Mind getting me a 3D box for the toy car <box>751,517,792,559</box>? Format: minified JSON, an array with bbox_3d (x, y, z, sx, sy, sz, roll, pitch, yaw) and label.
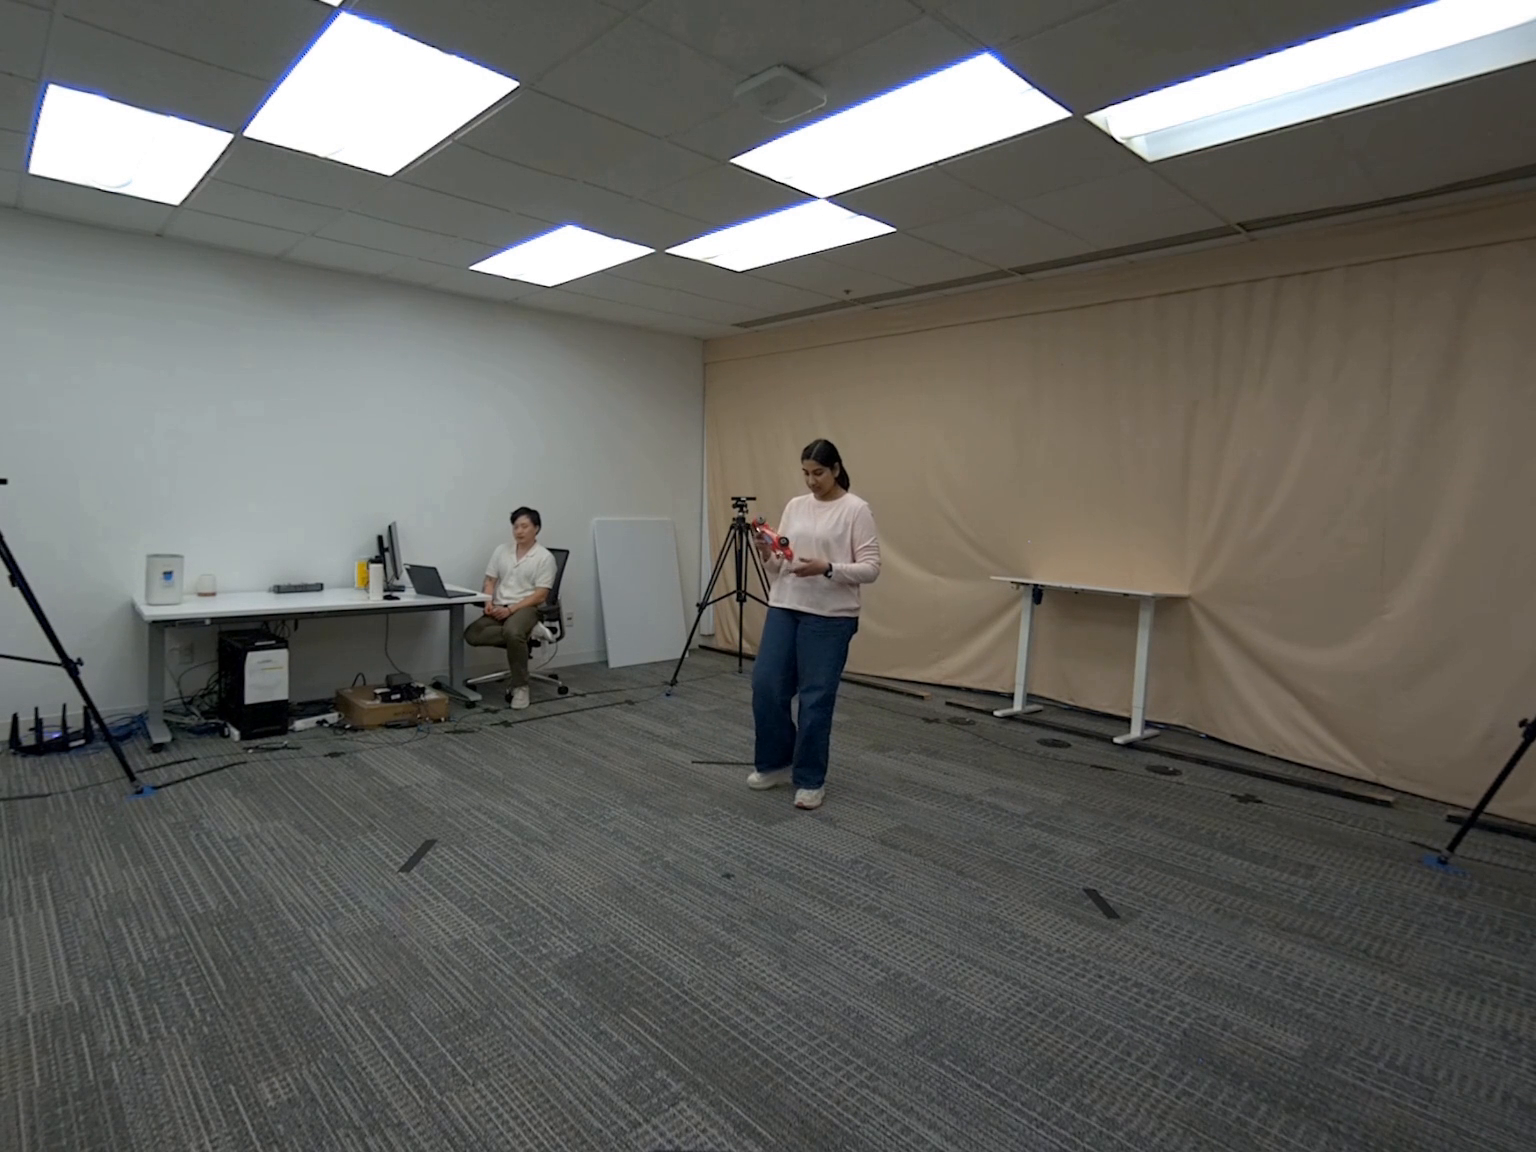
[{"bbox_3d":[0.031,-0.156,3.671,0.083,0.260,0.127,-32,-22,-6],"label":"toy car"}]
